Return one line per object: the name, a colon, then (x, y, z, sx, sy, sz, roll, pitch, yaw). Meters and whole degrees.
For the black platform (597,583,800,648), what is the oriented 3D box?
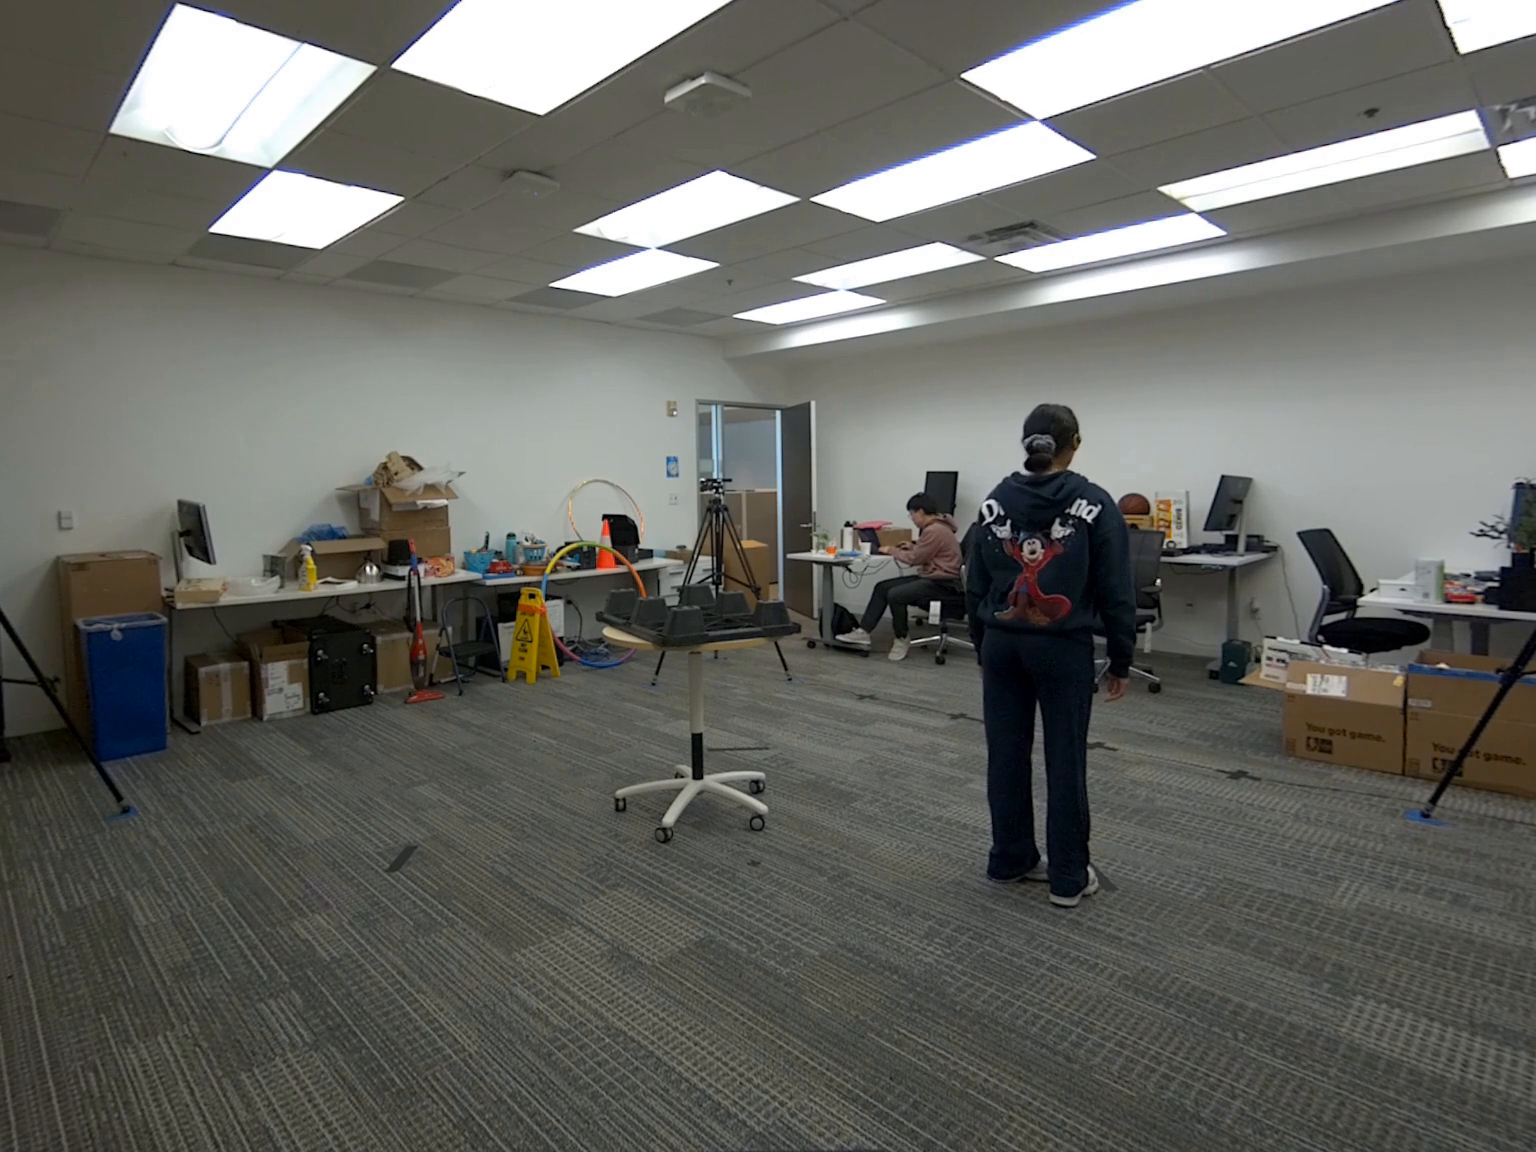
black platform: (-0.321, 0.149, 3.595, 0.591, 0.143, 0.827, -4, 7, -28)
